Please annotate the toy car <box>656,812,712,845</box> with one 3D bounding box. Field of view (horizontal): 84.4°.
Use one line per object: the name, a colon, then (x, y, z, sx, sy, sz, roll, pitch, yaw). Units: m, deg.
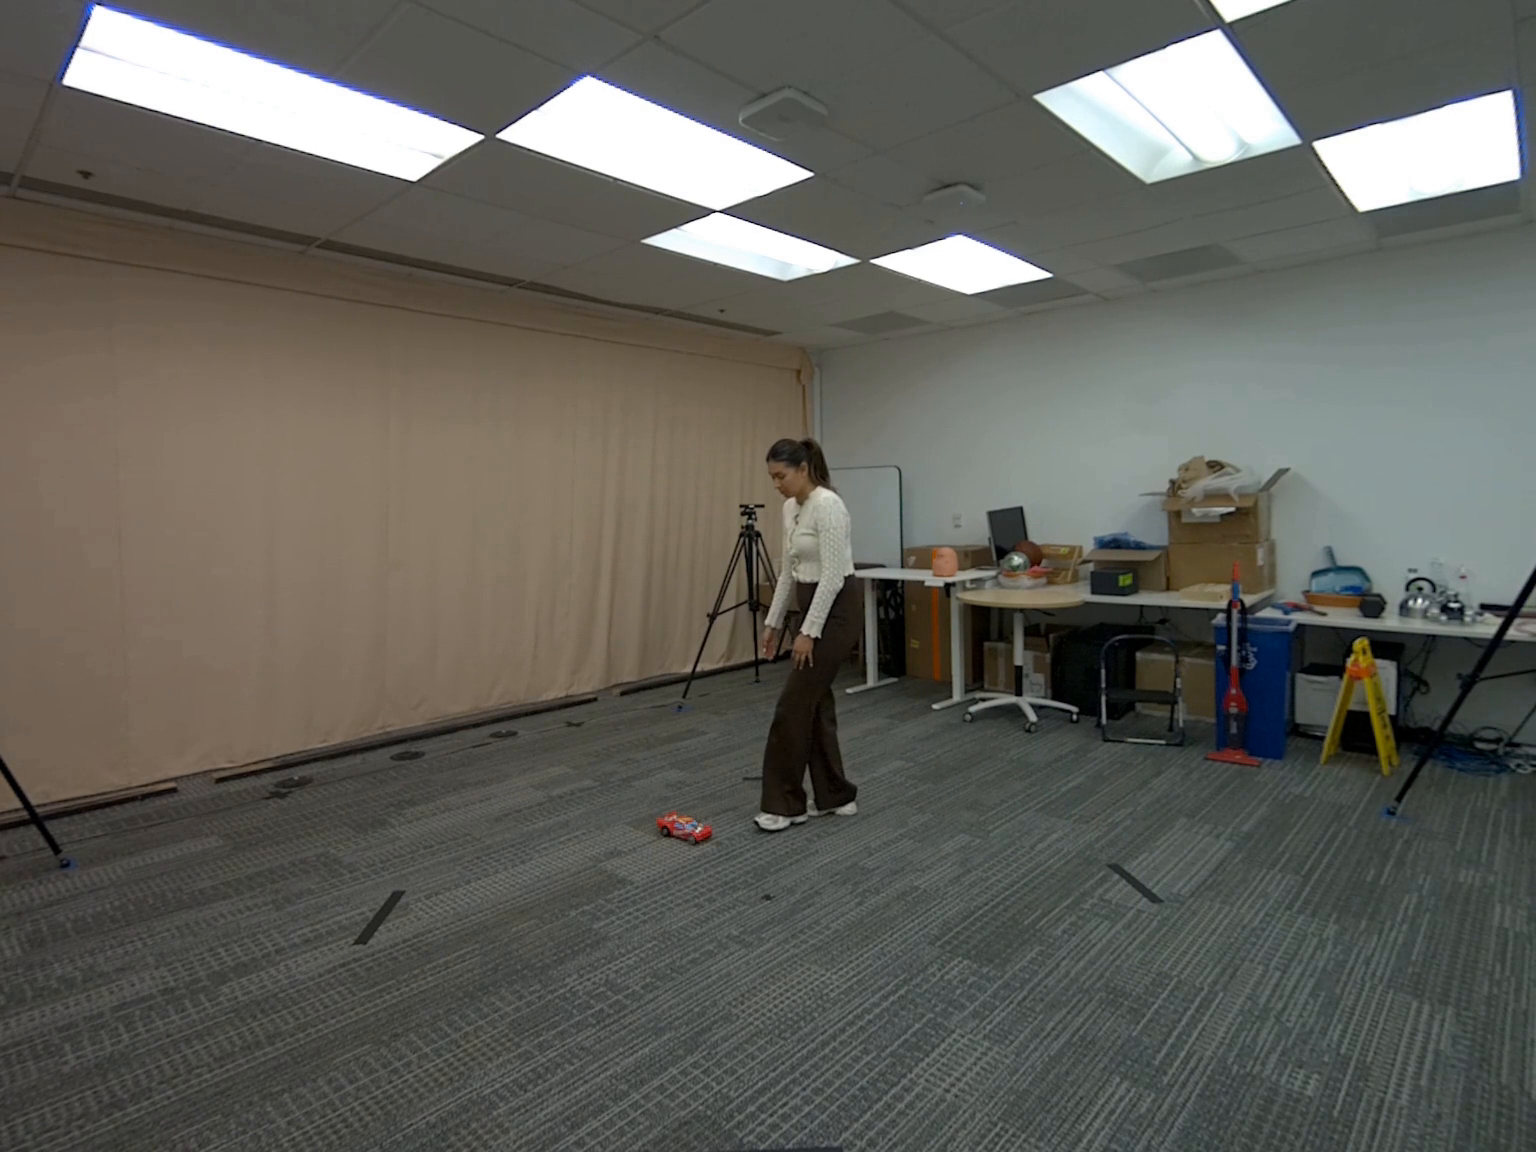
toy car: (-0.362, 1.067, 3.561, 0.263, 0.083, 0.126, 14, 13, 36)
